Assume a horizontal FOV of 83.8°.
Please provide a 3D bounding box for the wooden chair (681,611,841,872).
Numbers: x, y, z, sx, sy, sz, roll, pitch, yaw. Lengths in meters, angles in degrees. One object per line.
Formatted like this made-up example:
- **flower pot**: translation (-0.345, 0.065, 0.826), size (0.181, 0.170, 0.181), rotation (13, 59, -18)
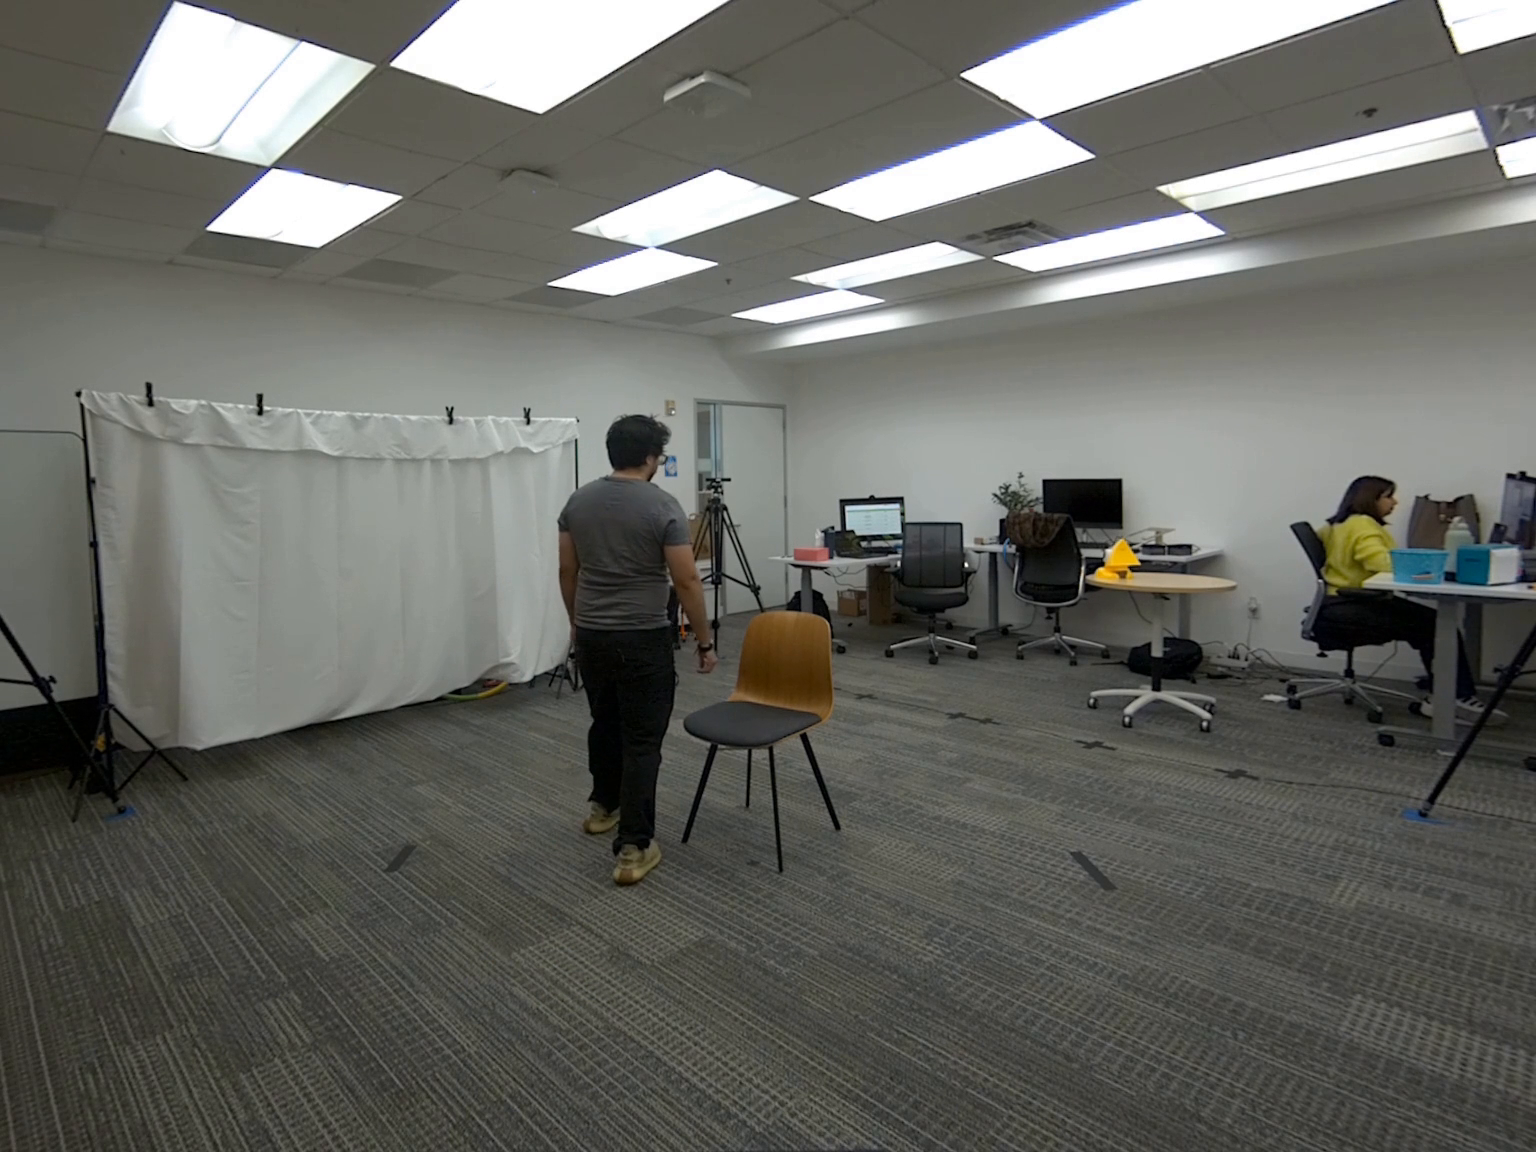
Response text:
- **wooden chair**: translation (-0.033, 0.591, 3.294), size (0.491, 0.877, 0.509), rotation (2, 1, 34)
